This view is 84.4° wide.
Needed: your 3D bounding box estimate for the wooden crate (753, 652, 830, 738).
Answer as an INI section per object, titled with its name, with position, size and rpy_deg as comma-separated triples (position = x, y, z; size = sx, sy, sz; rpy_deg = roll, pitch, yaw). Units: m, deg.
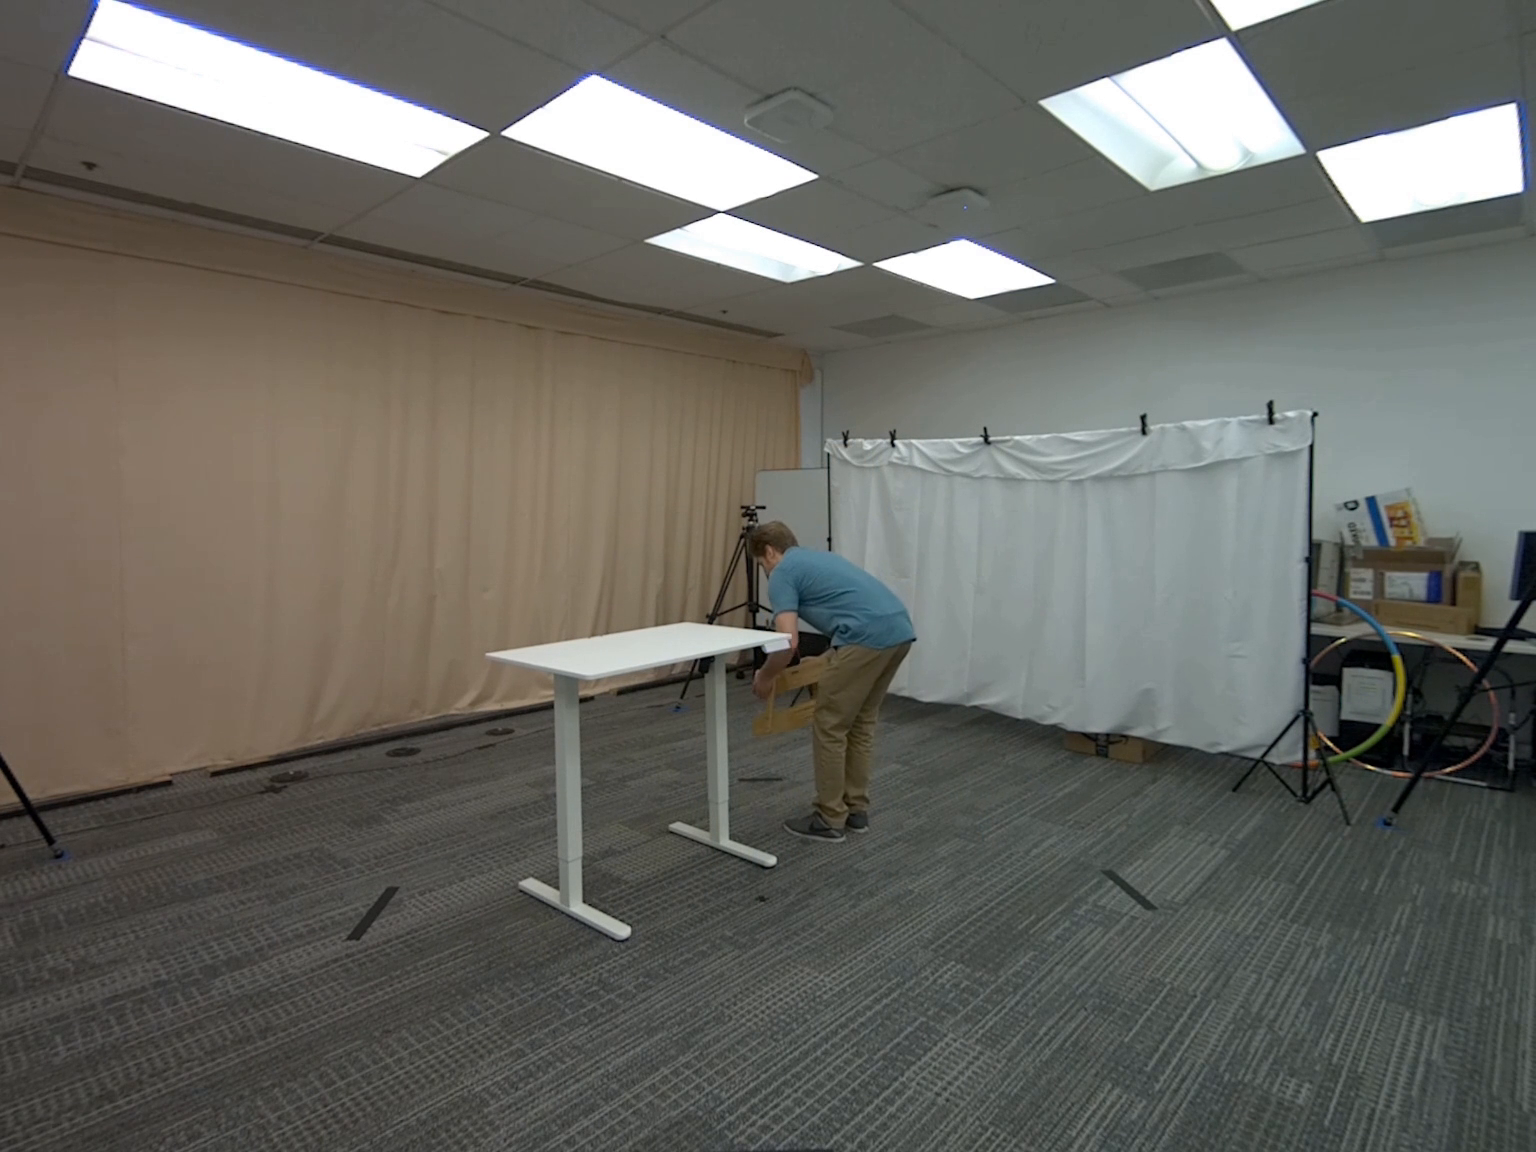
[wooden crate]
position = 0.091, 0.544, 3.823
size = 0.315, 0.275, 0.309
rpy_deg = -7, -10, -44
